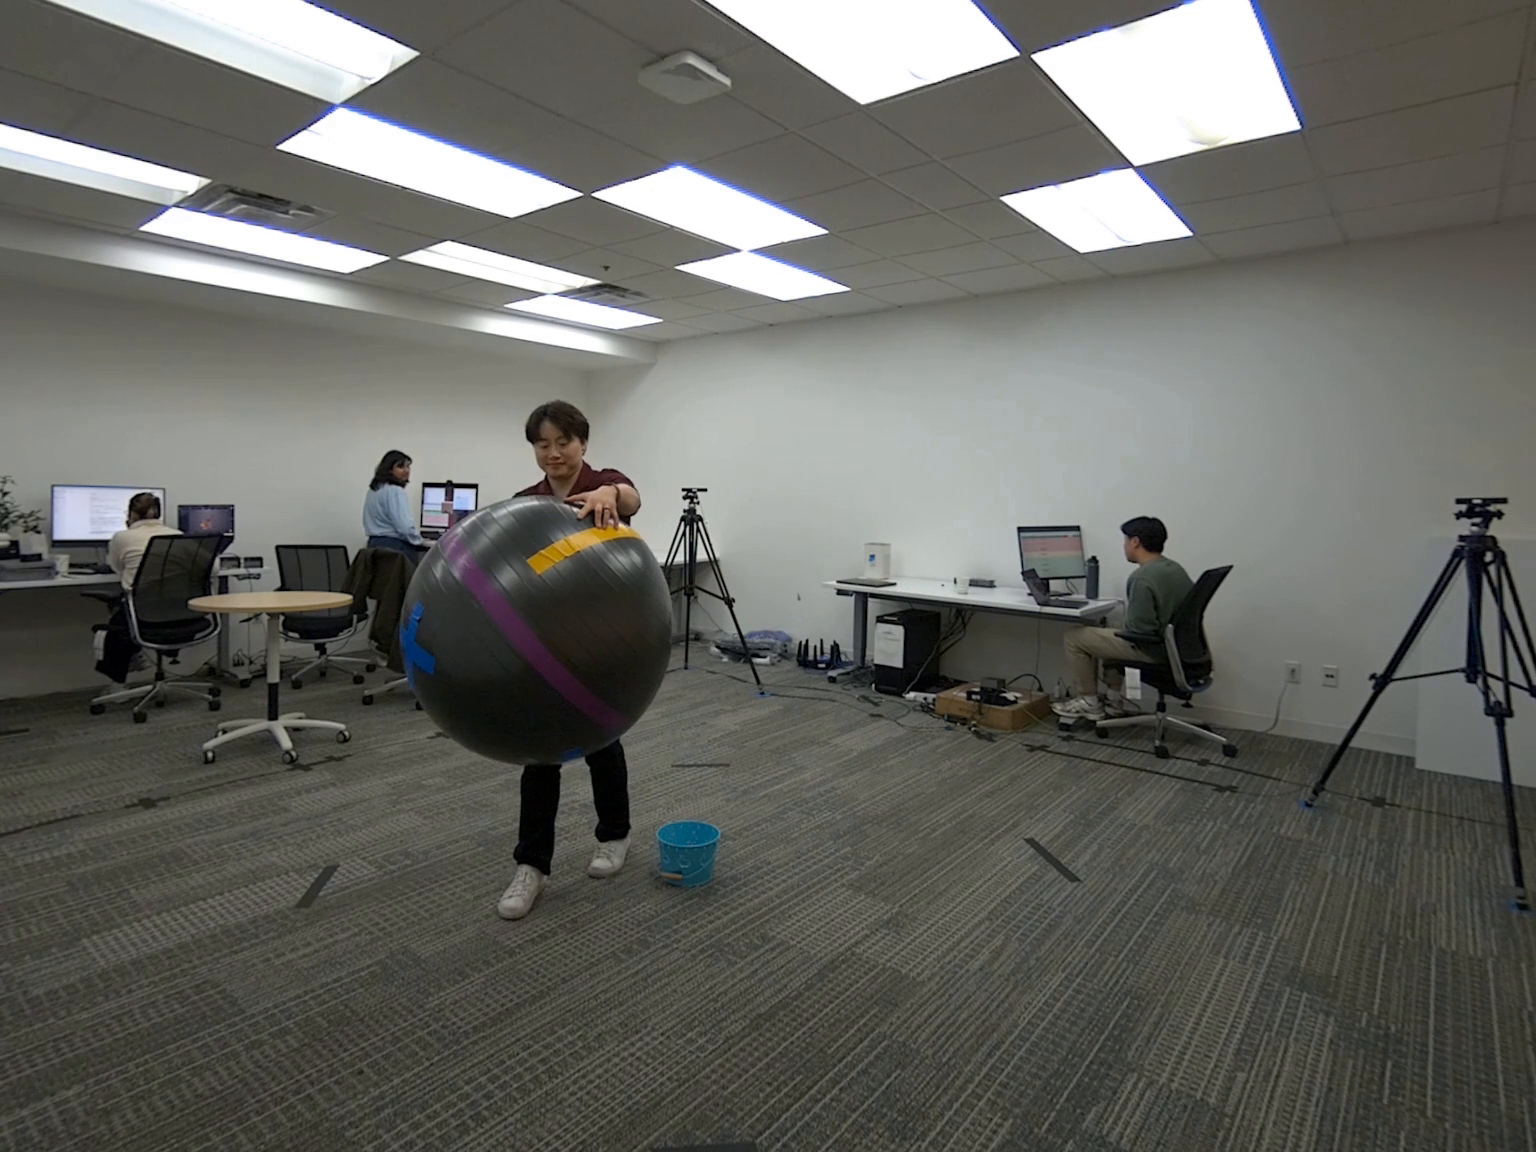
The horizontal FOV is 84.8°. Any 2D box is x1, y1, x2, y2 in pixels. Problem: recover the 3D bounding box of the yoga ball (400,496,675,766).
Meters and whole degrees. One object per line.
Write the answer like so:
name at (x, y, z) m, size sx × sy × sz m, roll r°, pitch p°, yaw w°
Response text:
yoga ball at (-0.663, 0.149, 2.420) m, size 0.757 × 0.756 × 0.761 m, roll 1°, pitch 4°, yaw -2°
